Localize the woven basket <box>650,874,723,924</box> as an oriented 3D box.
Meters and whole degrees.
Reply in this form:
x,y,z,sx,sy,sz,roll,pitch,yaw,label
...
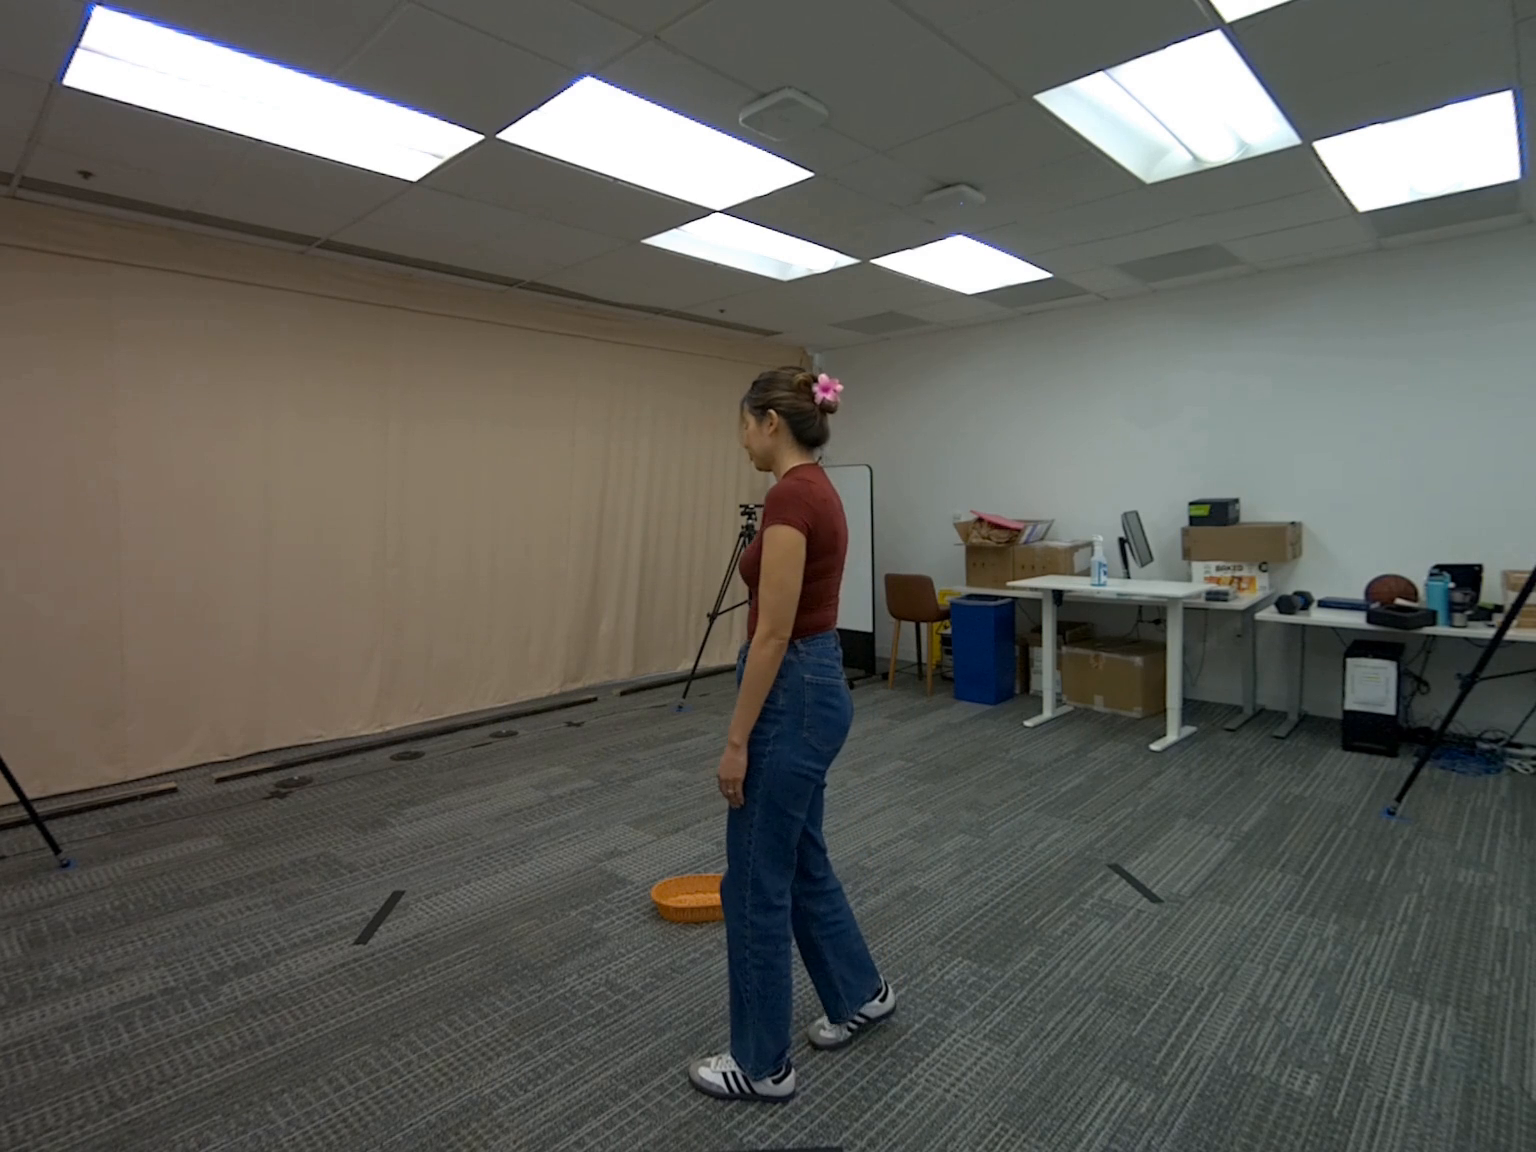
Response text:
x,y,z,sx,sy,sz,roll,pitch,yaw,label
-0.228,1.114,2.901,0.349,0.073,0.254,-1,4,-5,woven basket
